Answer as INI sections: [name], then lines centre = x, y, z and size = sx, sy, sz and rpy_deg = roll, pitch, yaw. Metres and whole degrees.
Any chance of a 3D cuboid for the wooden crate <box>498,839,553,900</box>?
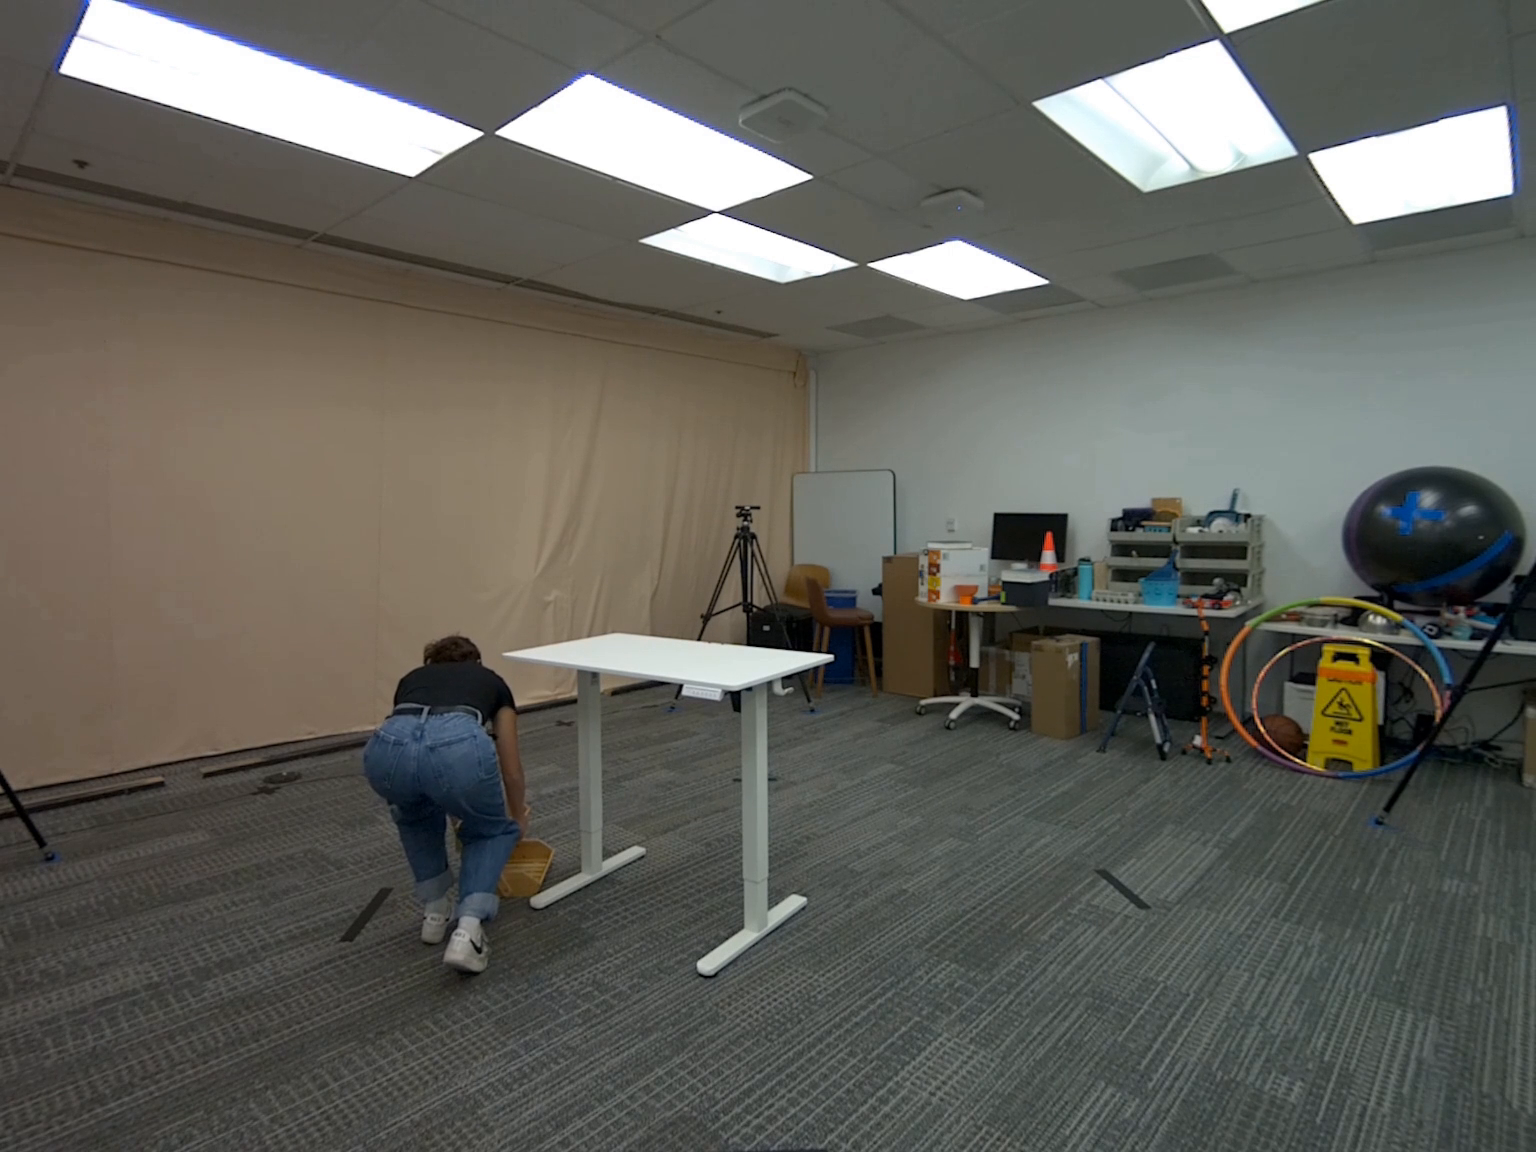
[wooden crate]
centre = -0.956, 0.997, 3.145
size = 0.301, 0.273, 0.326
rpy_deg = -2, 3, -3
